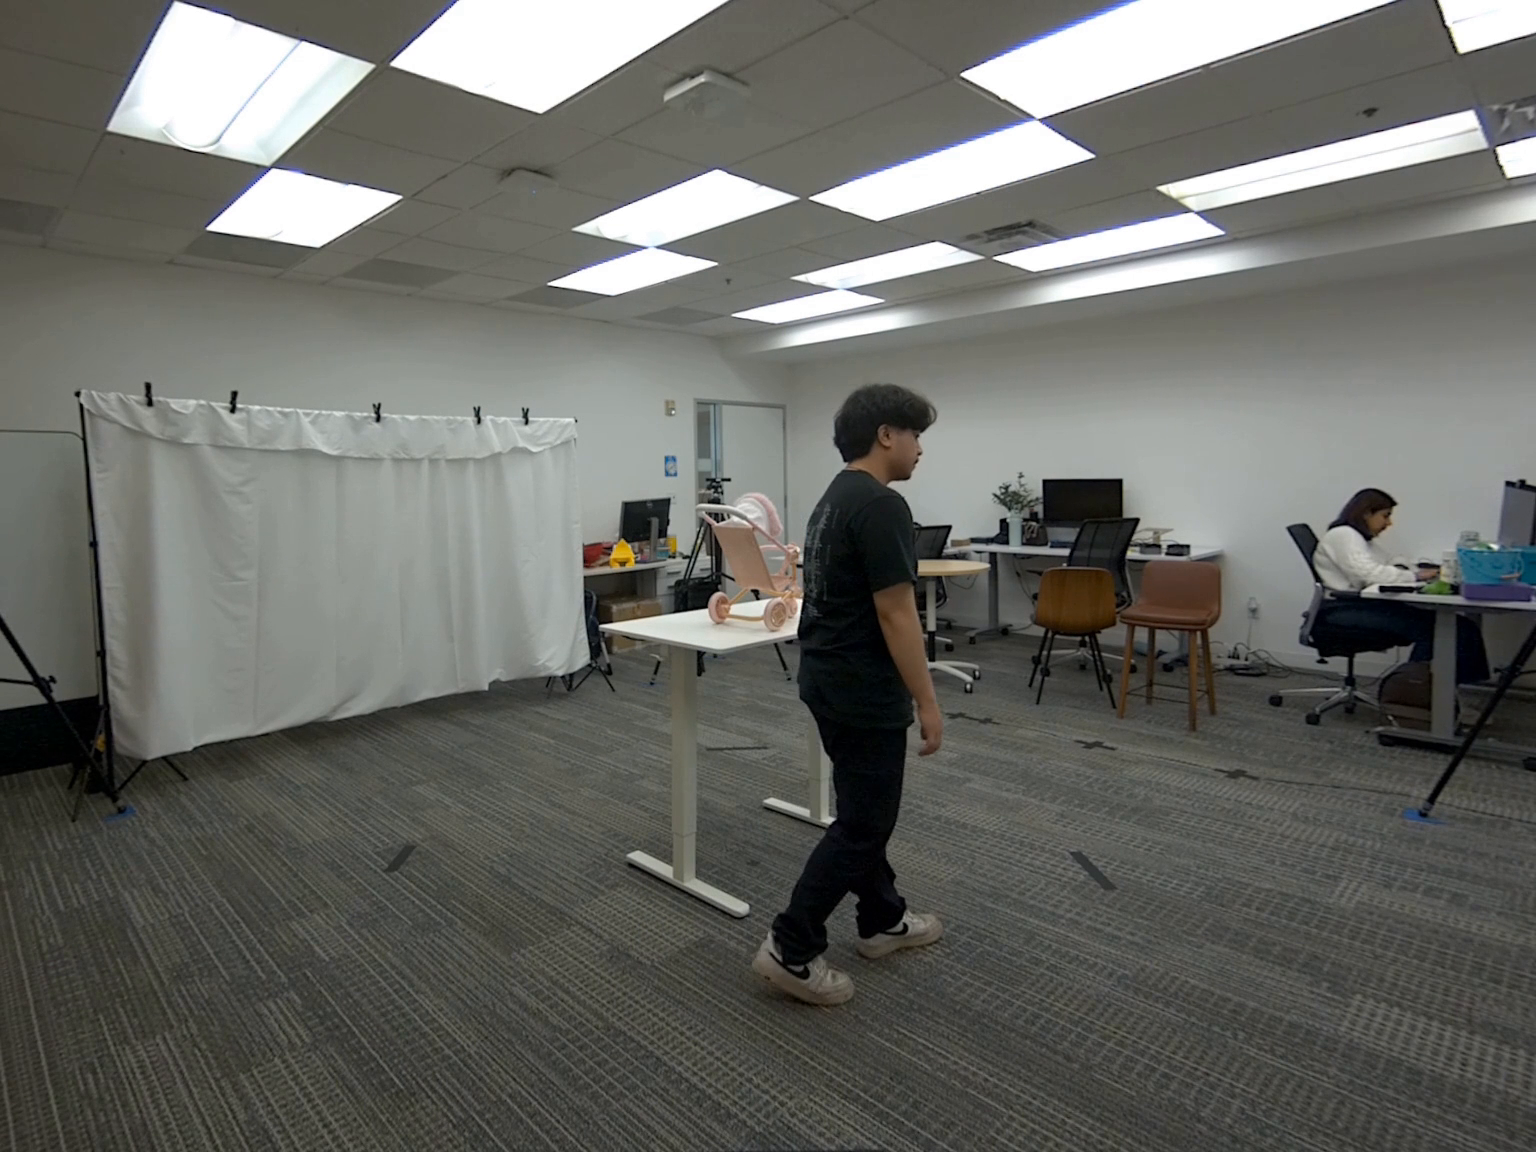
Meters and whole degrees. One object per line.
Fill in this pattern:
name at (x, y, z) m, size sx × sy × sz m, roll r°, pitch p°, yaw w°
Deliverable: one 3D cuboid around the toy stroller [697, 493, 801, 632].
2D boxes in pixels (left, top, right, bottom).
toy stroller at (-0.033, -0.050, 2.986) m, size 0.290 × 0.526 × 0.336 m, roll 5°, pitch 23°, yaw 43°
